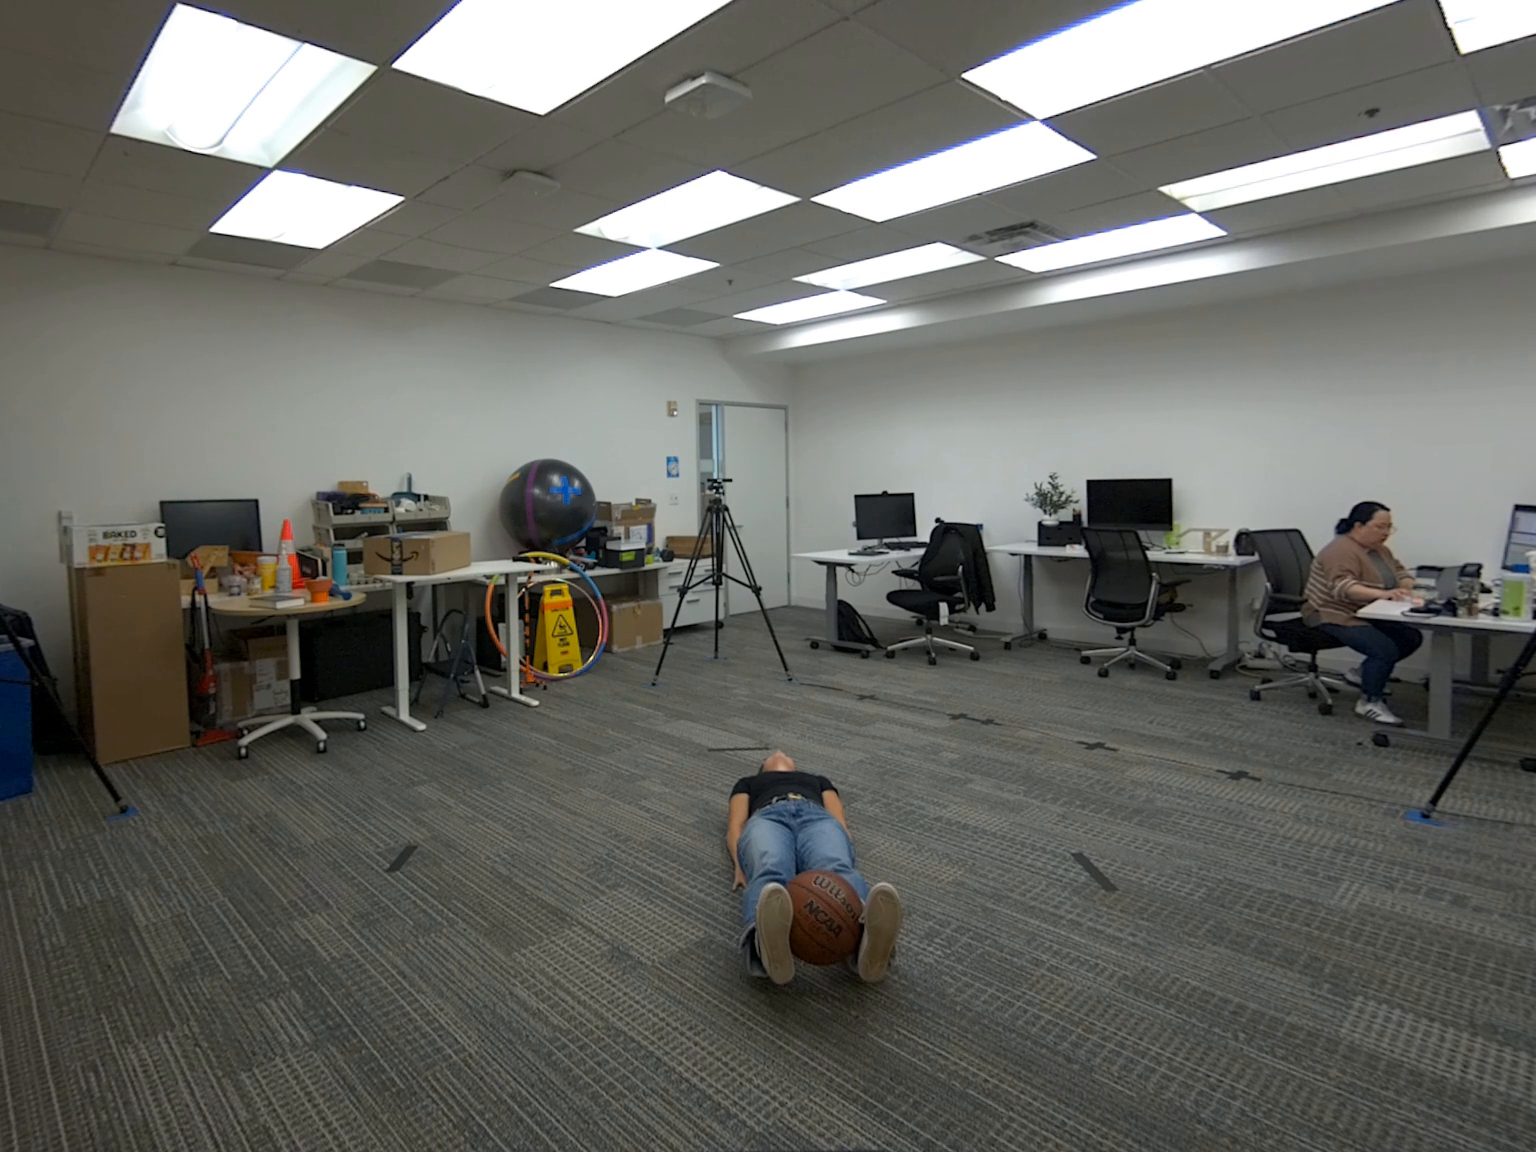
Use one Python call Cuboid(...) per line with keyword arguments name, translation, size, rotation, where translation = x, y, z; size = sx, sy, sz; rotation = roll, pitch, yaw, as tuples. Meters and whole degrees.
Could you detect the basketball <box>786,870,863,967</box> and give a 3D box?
Cuboid(name="basketball", translation=(0.148, 0.918, 2.321), size=(0.236, 0.235, 0.237), rotation=(-1, 5, -2))
